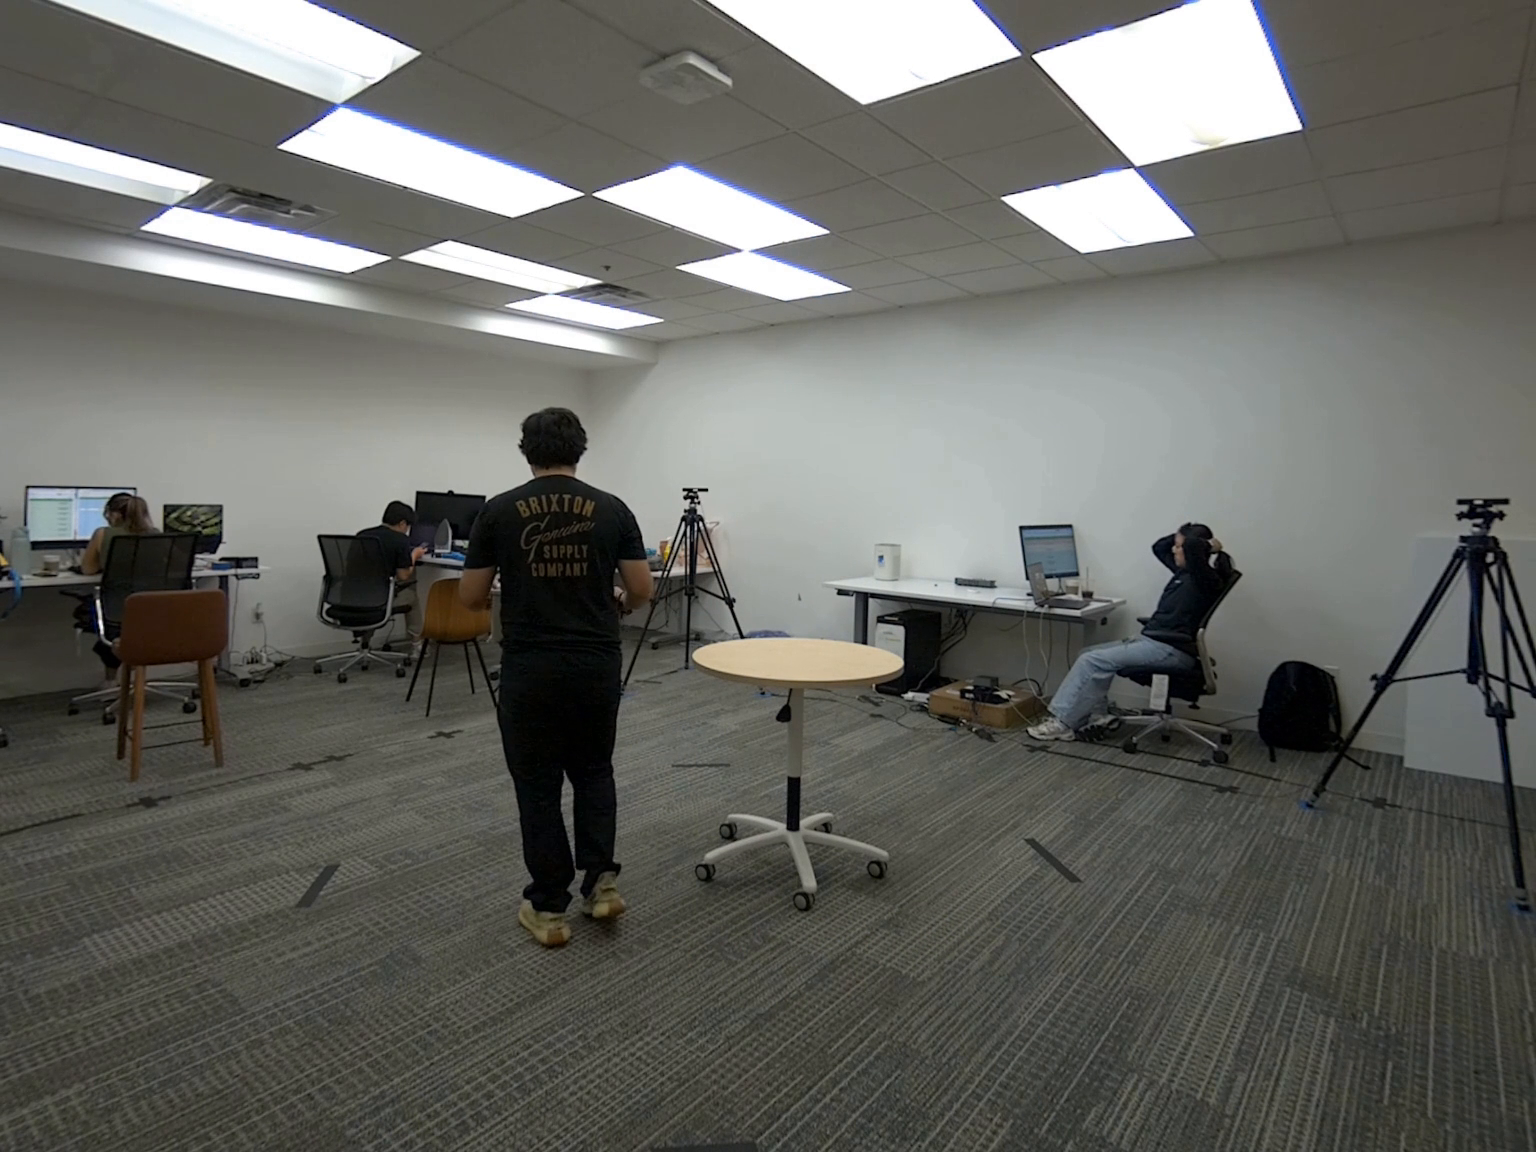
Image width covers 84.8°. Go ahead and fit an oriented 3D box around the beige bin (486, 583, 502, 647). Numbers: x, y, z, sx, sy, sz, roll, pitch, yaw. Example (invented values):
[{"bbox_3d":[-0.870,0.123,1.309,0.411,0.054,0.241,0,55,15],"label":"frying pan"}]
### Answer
[{"bbox_3d":[-0.777,0.131,3.041,0.418,0.188,0.382,3,5,-9],"label":"beige bin"}]
